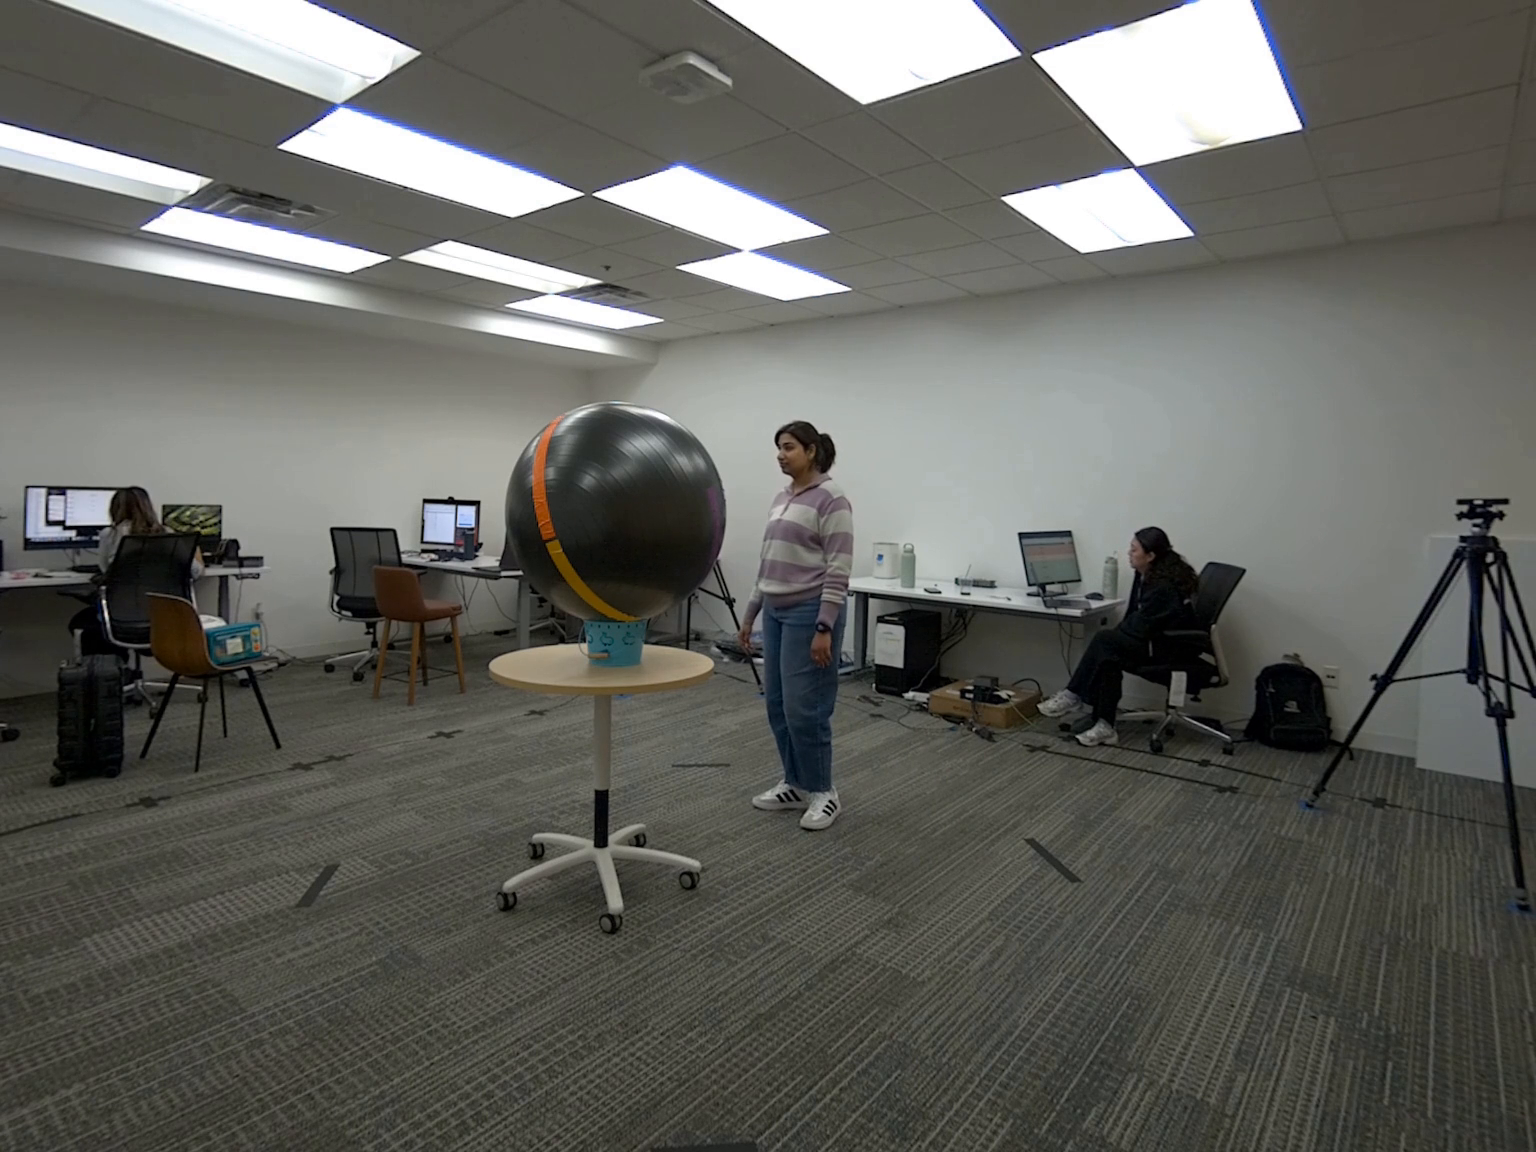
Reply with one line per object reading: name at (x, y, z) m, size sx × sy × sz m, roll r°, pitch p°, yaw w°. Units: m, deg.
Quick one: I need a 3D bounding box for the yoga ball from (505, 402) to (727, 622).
yoga ball at (-0.532, -0.213, 2.935) m, size 0.757 × 0.755 × 0.762 m, roll 1°, pitch 4°, yaw -2°
